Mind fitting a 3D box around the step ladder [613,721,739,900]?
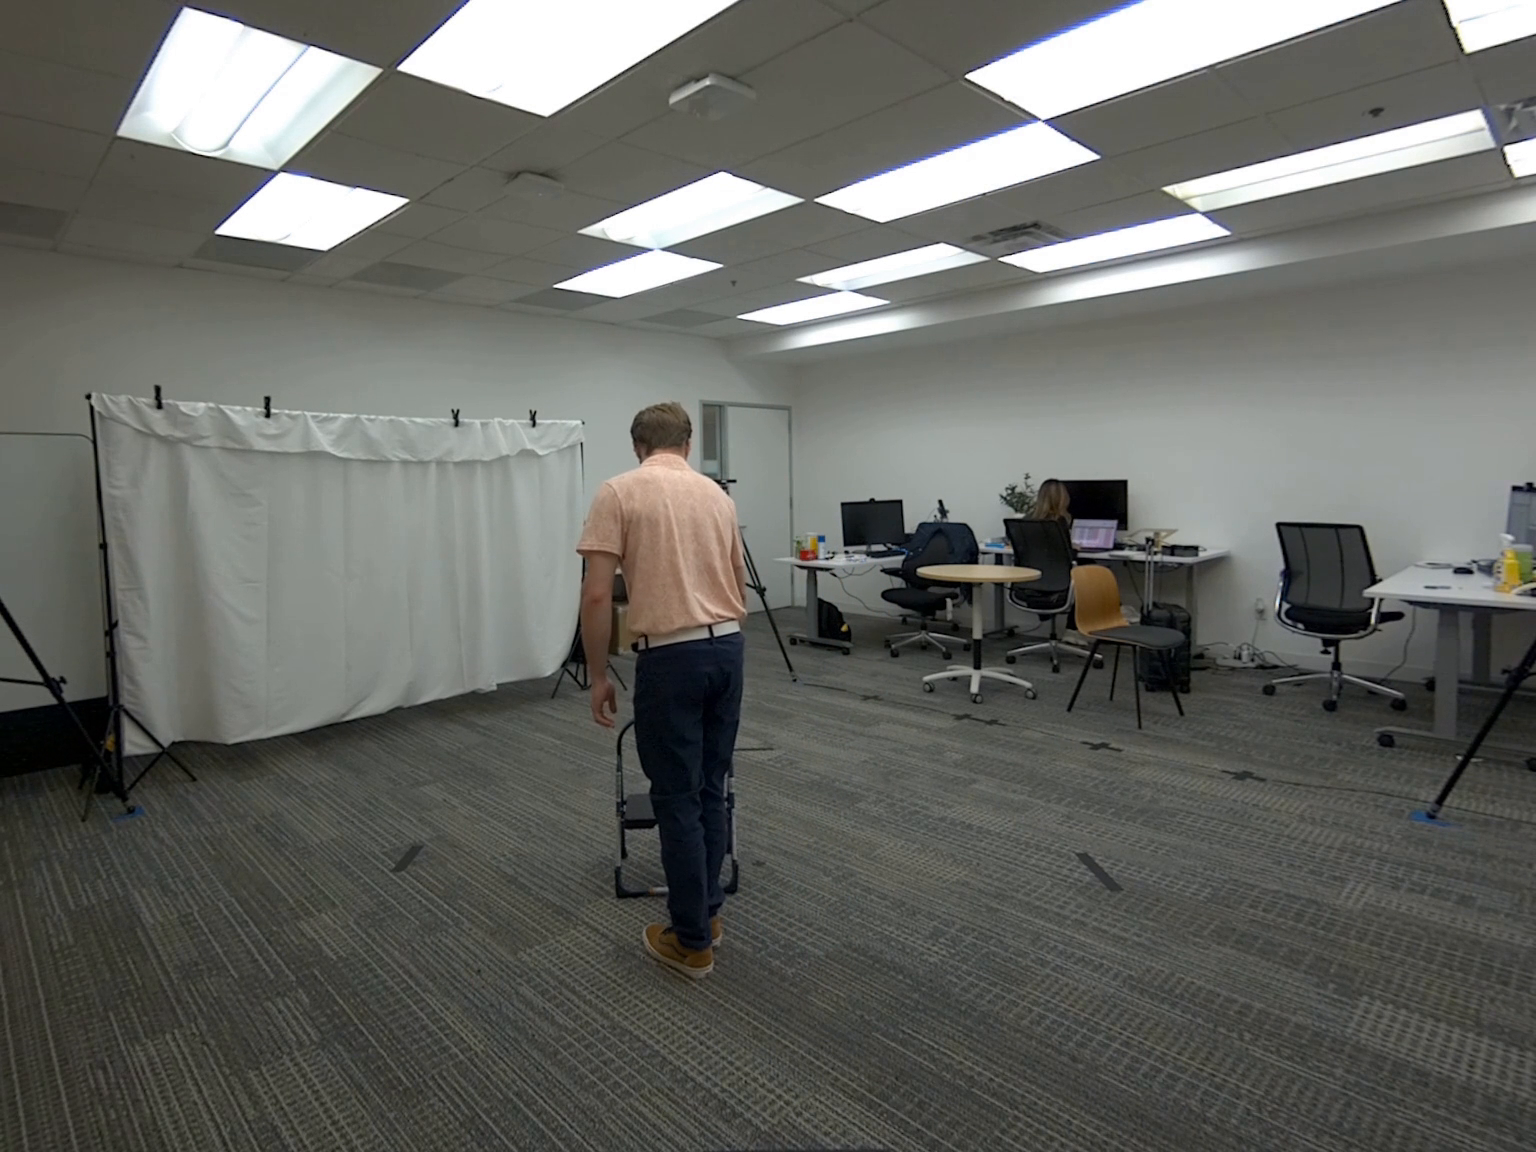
[{"bbox_3d":[-0.330,0.766,3.025,0.429,0.605,0.352,-2,2,-5],"label":"step ladder"}]
